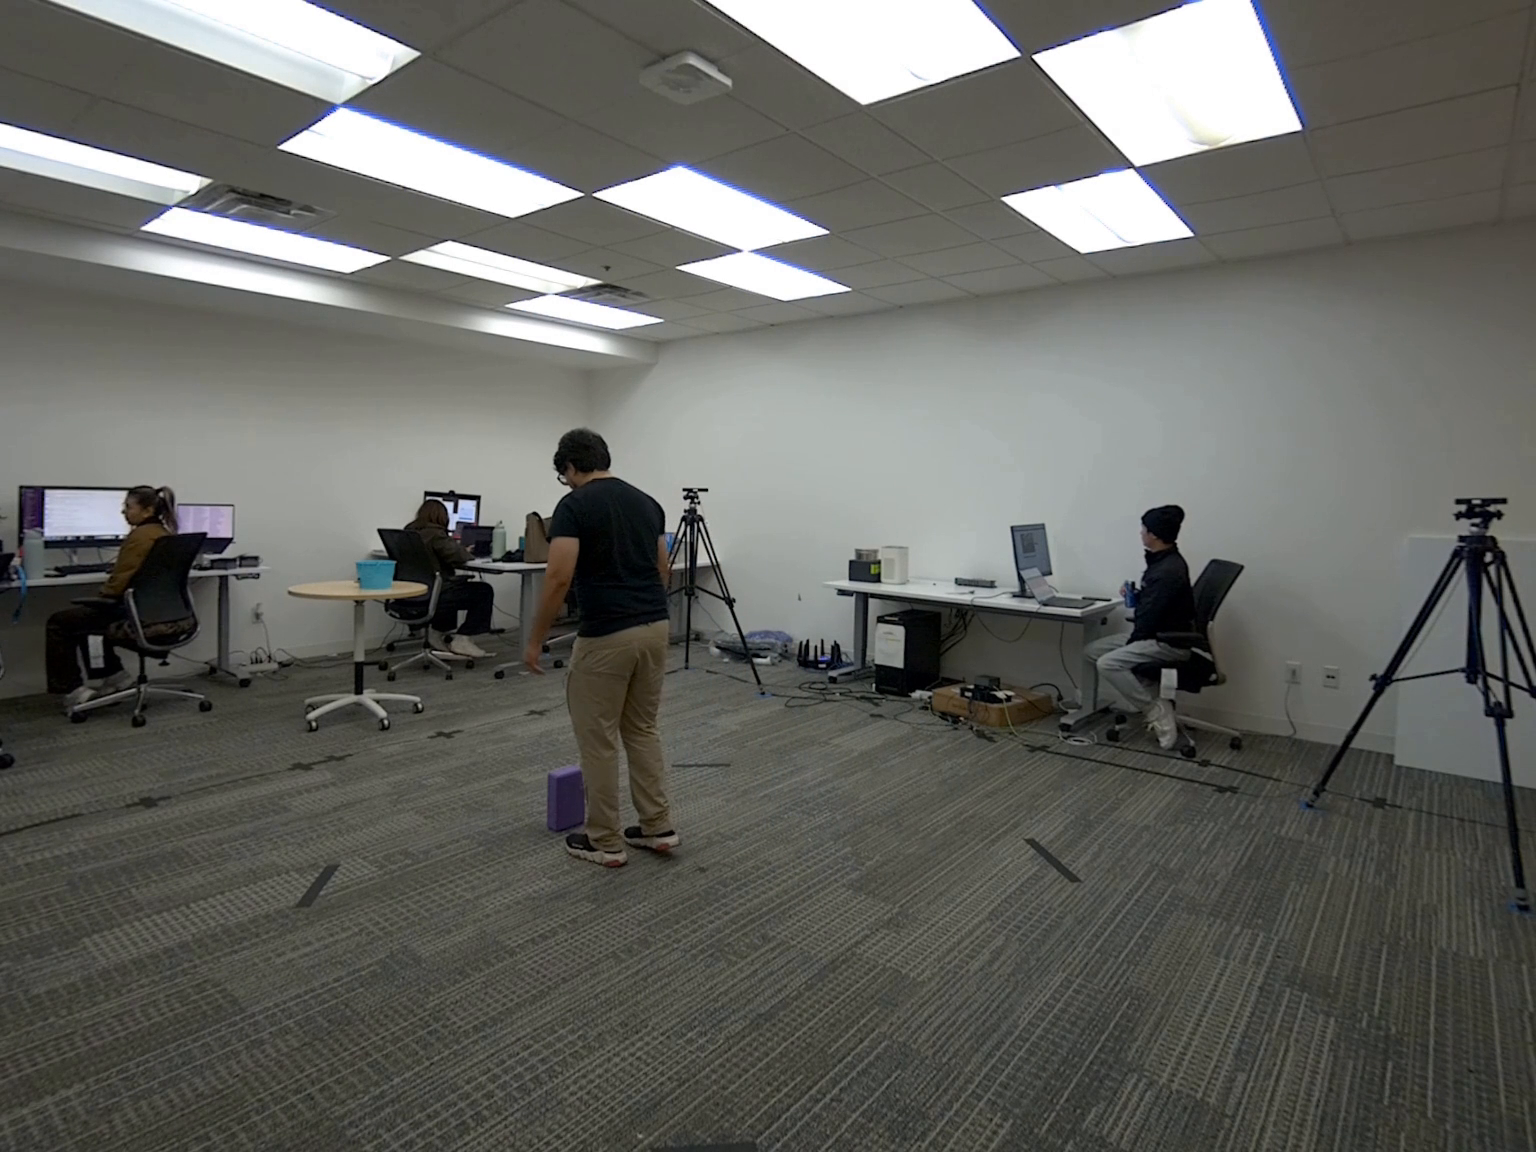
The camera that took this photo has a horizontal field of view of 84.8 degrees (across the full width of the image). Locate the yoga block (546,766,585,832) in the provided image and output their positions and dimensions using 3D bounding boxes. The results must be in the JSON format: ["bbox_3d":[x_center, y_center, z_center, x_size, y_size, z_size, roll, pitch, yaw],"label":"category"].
[{"bbox_3d":[-0.842,0.907,3.490,0.079,0.228,0.144,5,5,41],"label":"yoga block"}]
